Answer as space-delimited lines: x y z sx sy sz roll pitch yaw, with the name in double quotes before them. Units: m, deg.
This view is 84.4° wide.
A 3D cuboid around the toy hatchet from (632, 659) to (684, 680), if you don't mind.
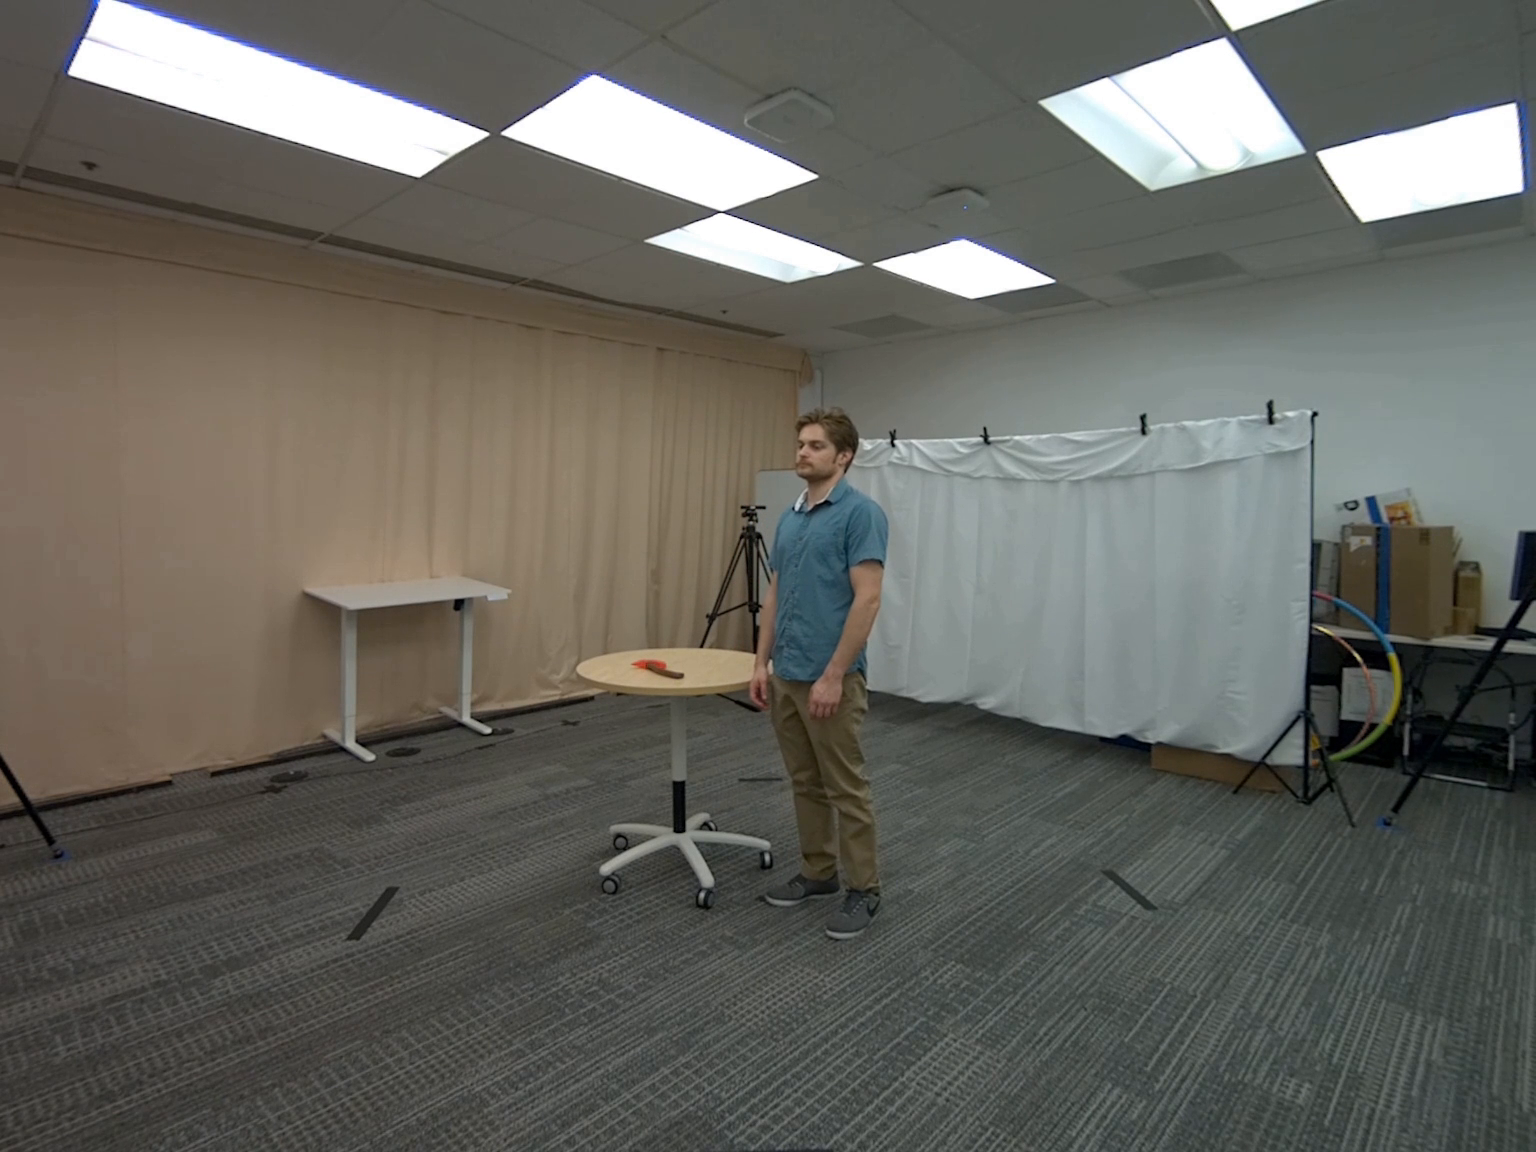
"toy hatchet" -0.377 0.347 3.105 0.127 0.029 0.279 2 4 -44
